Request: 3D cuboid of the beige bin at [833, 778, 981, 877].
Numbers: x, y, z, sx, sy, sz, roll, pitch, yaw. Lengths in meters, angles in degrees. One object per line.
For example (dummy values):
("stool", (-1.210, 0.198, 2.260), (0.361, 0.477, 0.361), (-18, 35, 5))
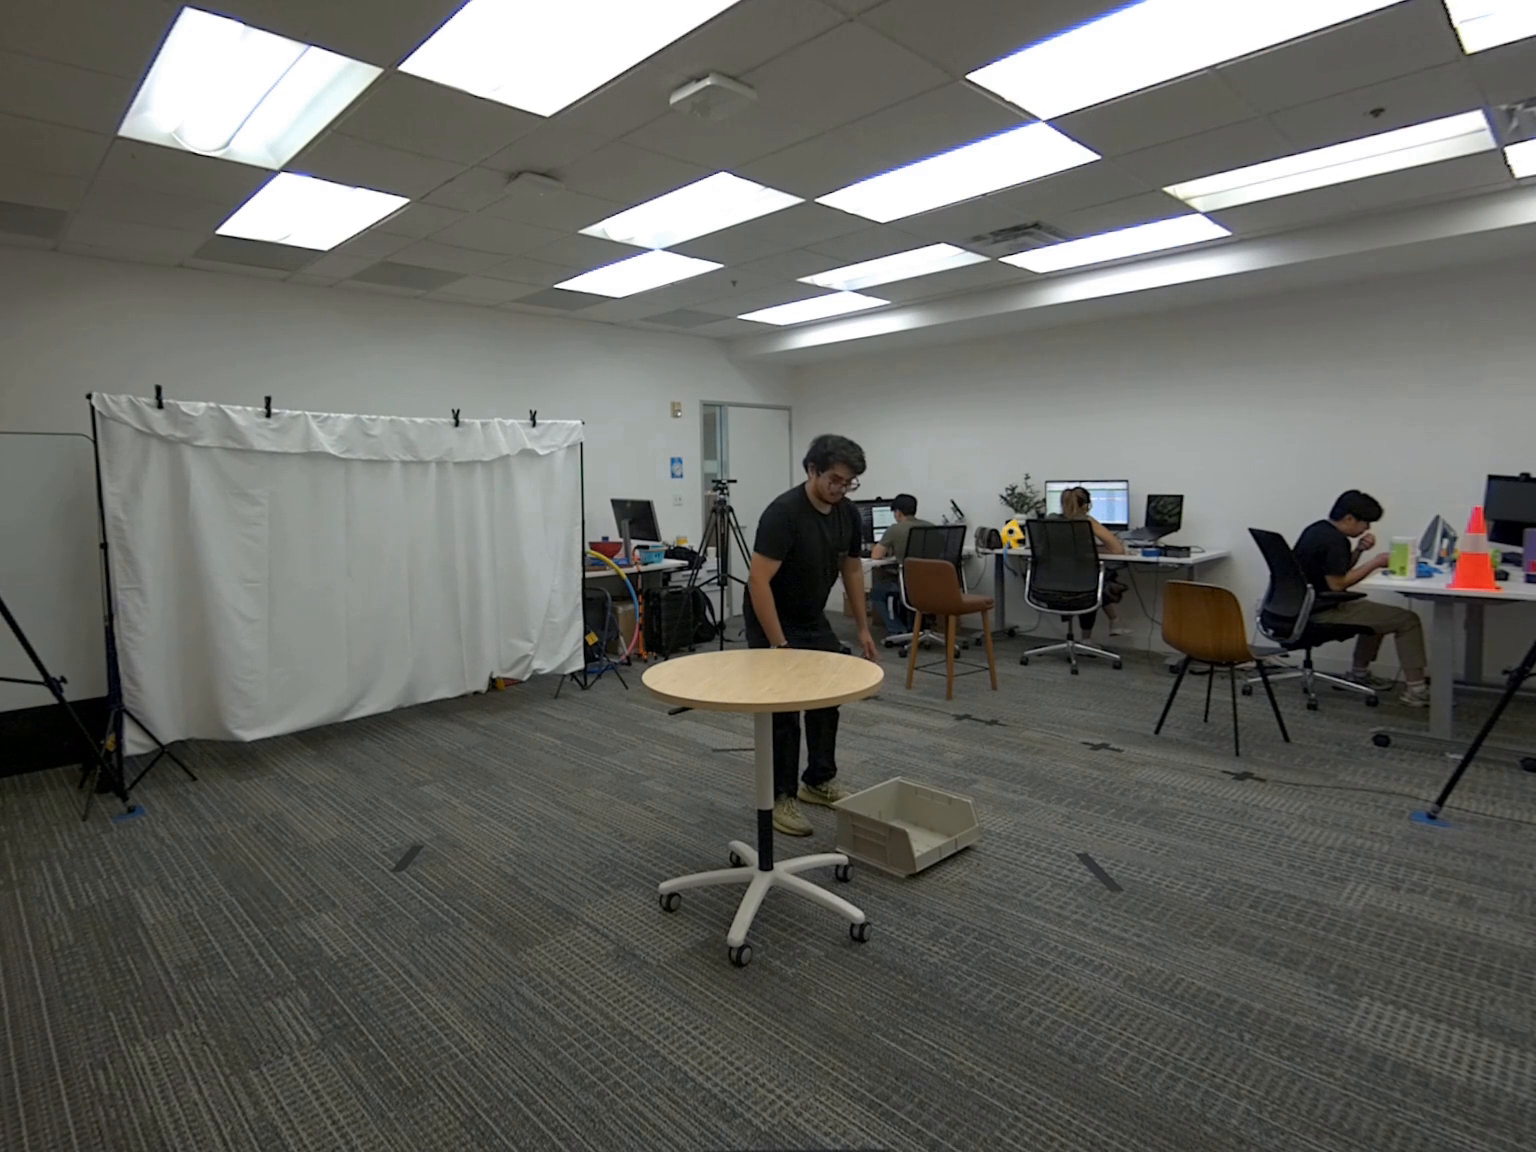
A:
("beige bin", (0.518, 0.933, 3.202), (0.411, 0.188, 0.389), (-7, 7, -43))
